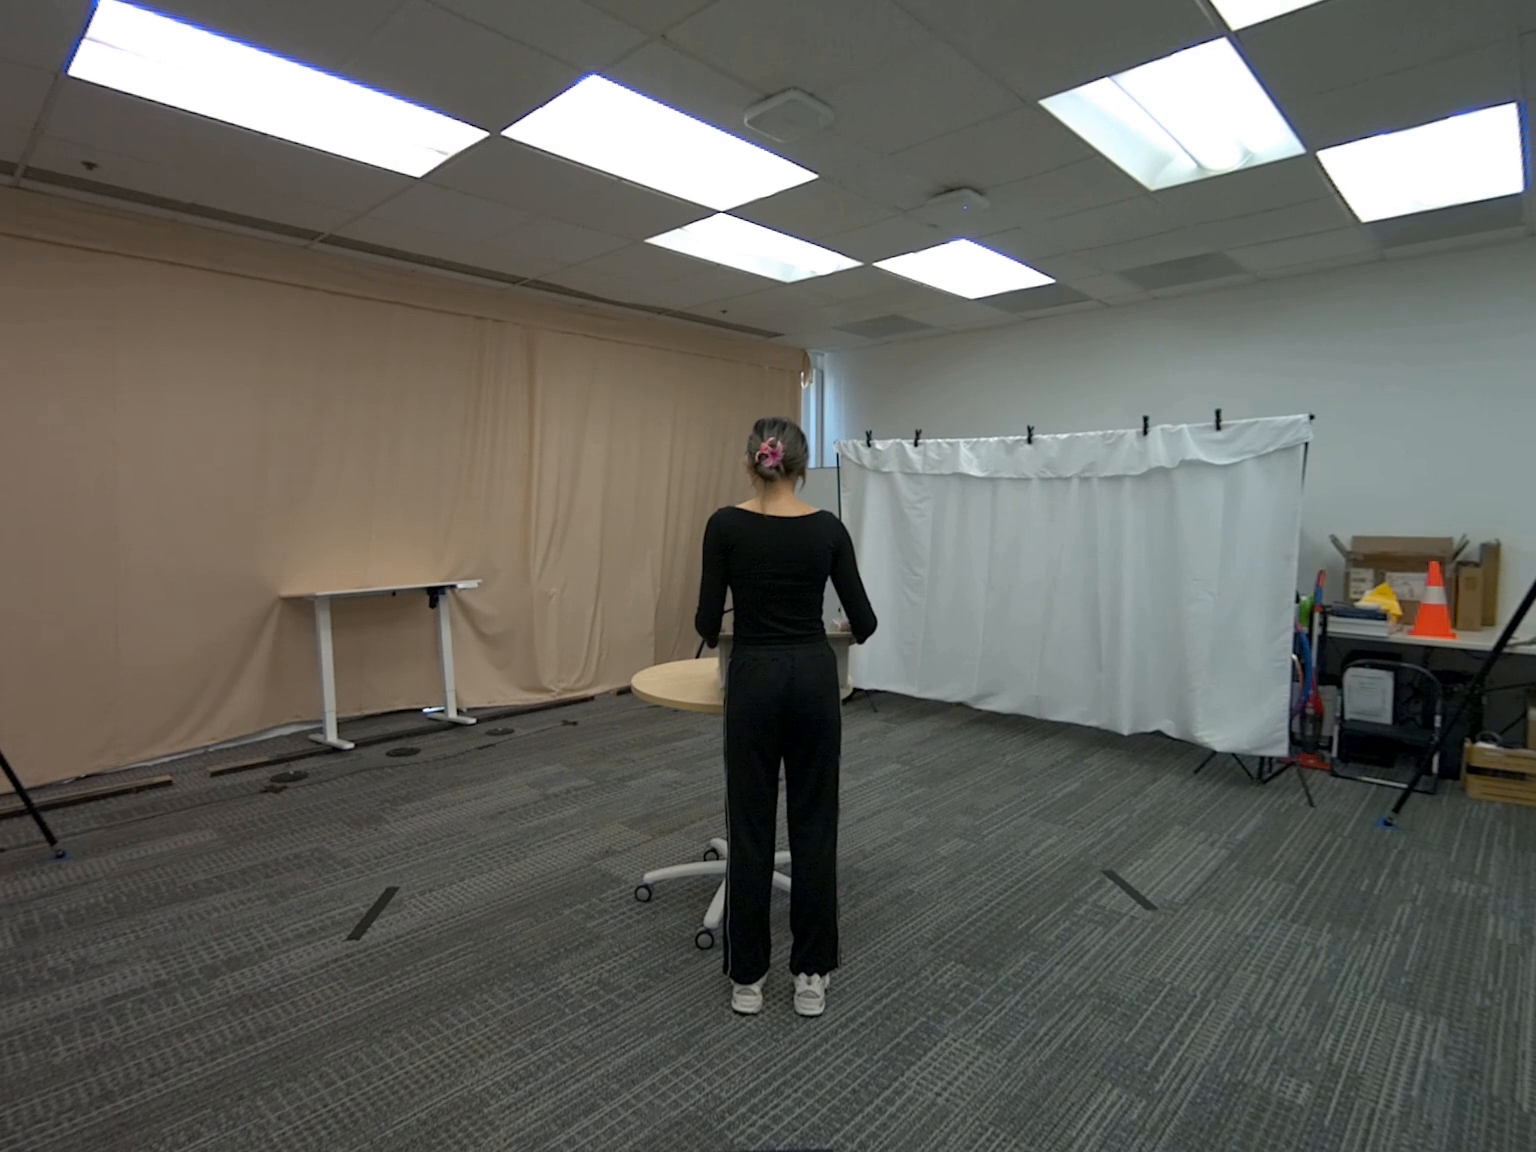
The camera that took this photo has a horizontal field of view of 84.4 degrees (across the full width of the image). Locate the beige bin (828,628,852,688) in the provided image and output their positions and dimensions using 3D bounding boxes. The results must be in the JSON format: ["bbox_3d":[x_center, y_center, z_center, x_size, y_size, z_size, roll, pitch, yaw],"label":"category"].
[{"bbox_3d":[0.047,0.243,2.775,0.421,0.188,0.380,0,6,-4],"label":"beige bin"}]
